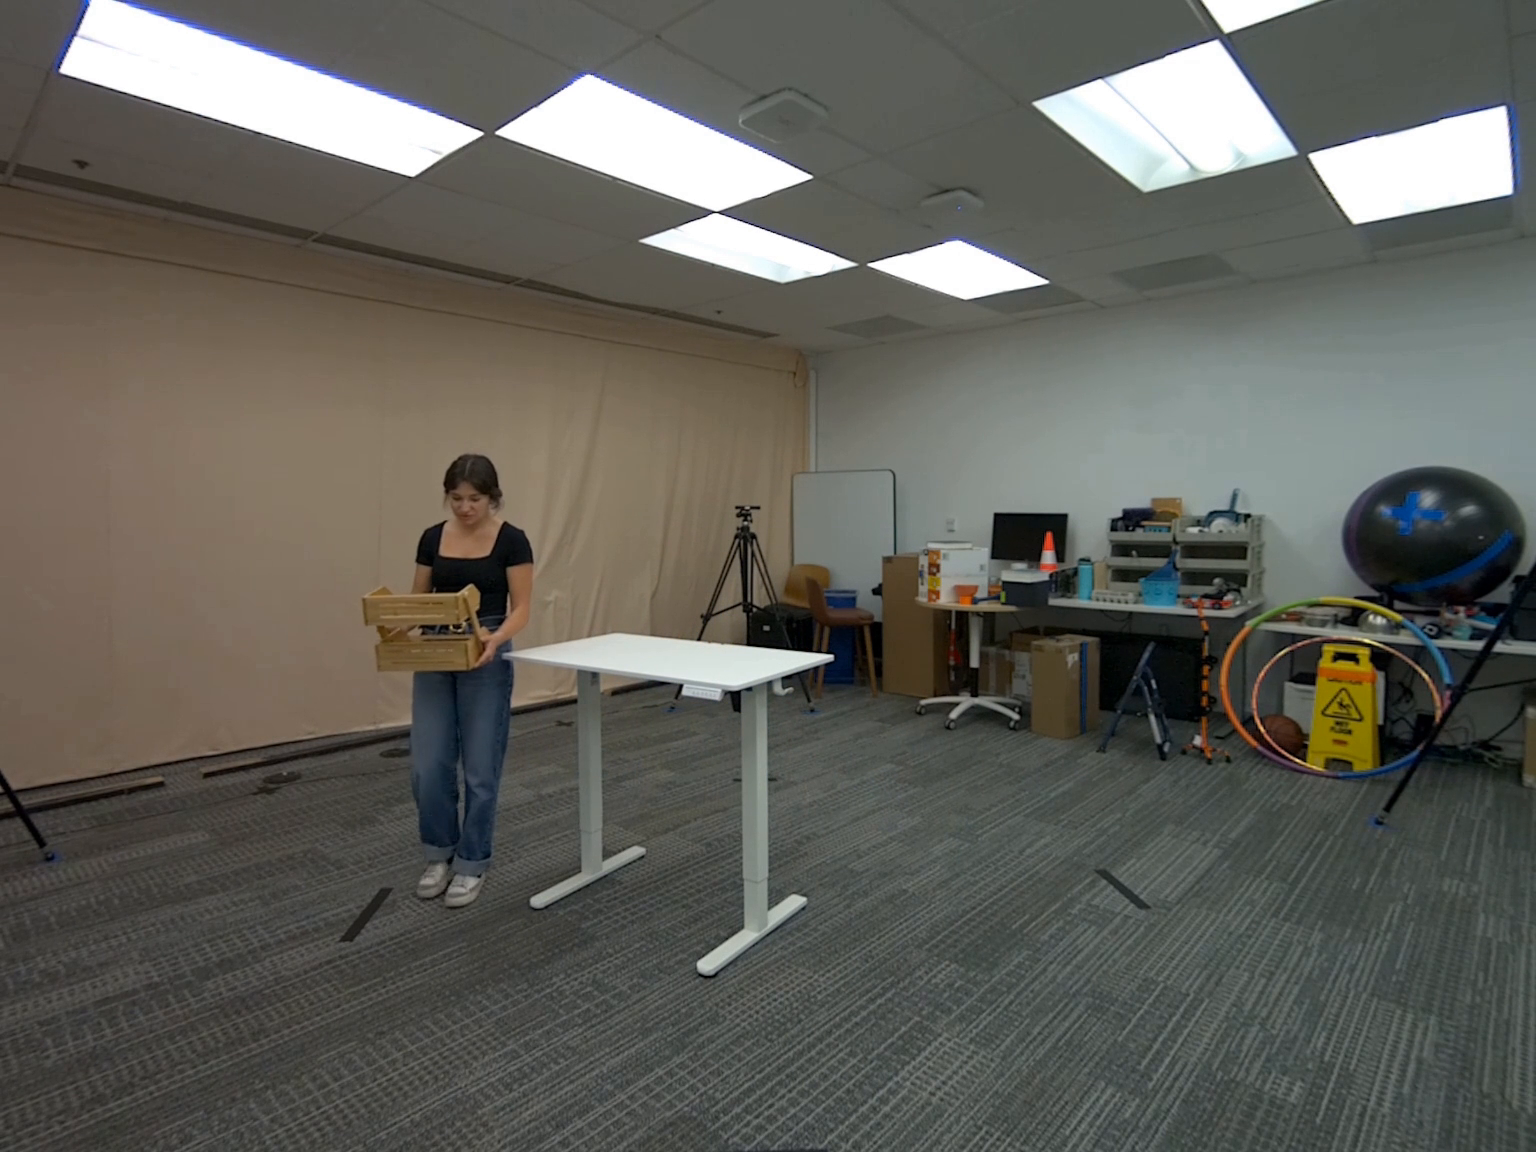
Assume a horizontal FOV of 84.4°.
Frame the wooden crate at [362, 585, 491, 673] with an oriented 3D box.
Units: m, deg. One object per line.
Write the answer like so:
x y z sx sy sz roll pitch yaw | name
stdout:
-1.106 0.153 2.763 0.325 0.271 0.304 -2 12 0 | wooden crate
